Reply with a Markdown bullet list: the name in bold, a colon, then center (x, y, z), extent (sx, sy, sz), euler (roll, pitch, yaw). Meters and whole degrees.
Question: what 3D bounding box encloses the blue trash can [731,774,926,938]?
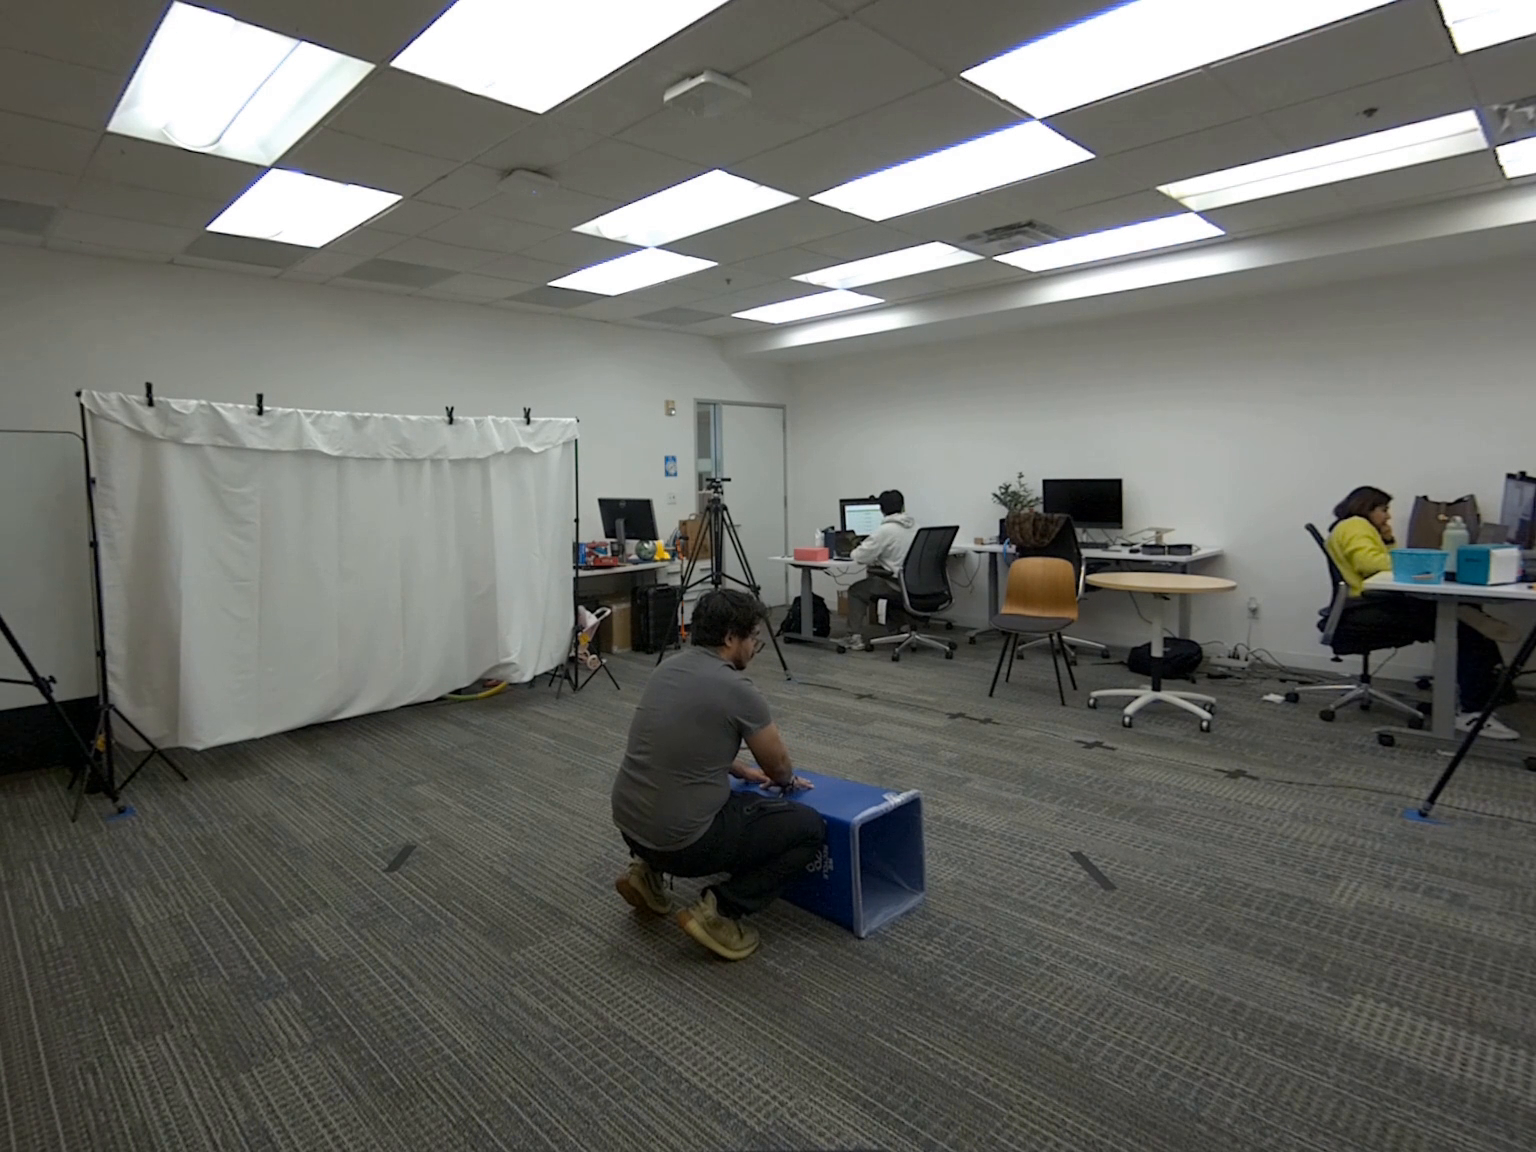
- **blue trash can**: center (0.140, 0.886, 2.951), extent (0.364, 0.377, 0.735), euler (-6, 6, -44)
